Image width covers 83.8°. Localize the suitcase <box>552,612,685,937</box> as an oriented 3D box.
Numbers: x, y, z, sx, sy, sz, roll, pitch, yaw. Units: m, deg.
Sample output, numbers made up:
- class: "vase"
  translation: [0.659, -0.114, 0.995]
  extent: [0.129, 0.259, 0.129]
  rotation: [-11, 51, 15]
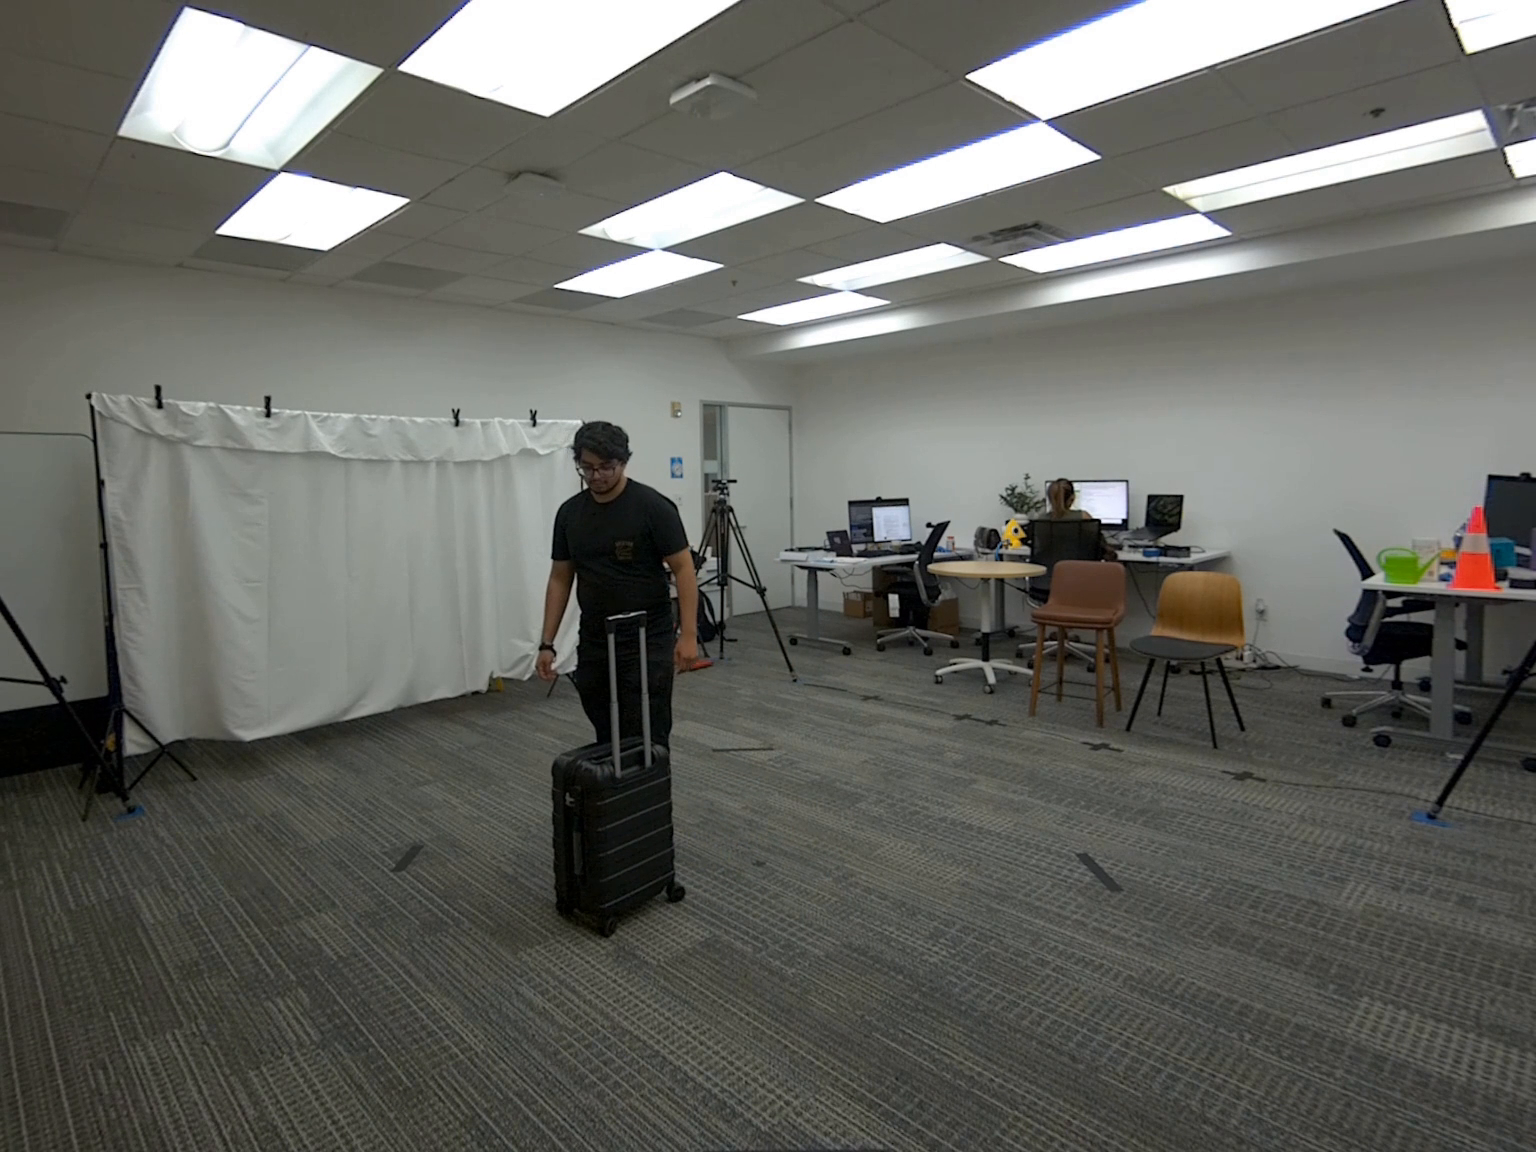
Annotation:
- class: "suitcase"
  translation: [-0.516, 0.618, 2.780]
  extent: [0.264, 0.976, 0.374]
  rotation: [-1, 4, 40]
